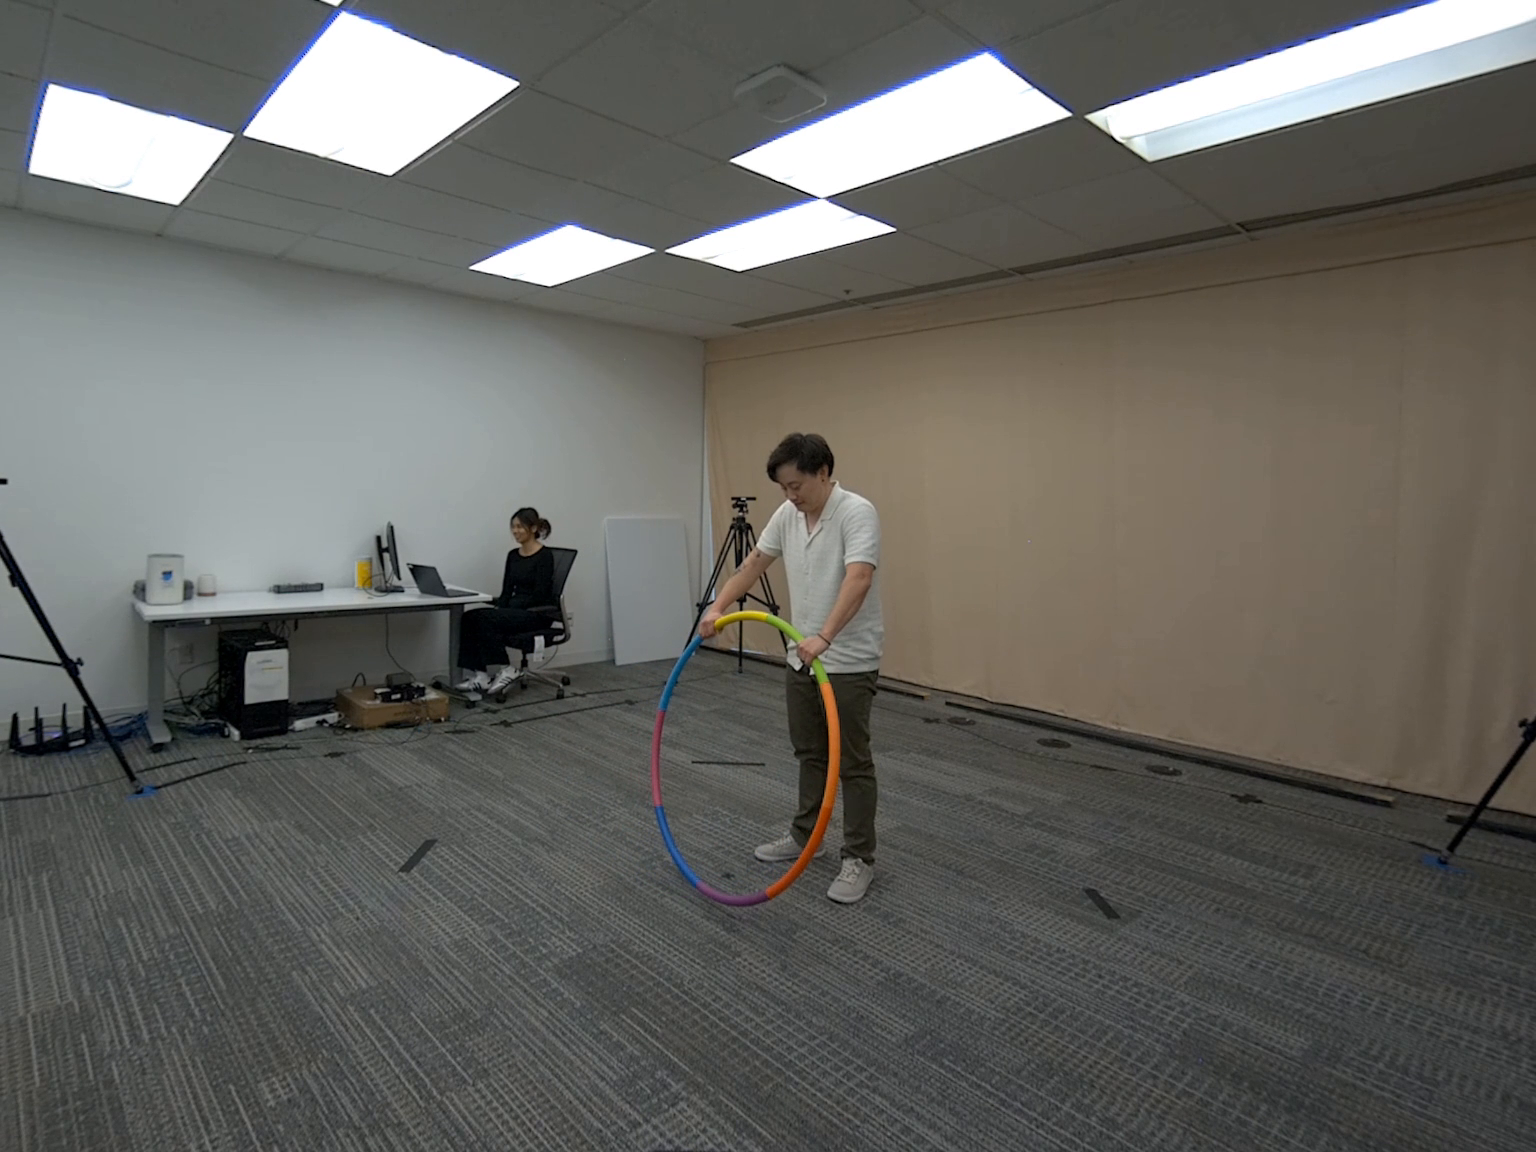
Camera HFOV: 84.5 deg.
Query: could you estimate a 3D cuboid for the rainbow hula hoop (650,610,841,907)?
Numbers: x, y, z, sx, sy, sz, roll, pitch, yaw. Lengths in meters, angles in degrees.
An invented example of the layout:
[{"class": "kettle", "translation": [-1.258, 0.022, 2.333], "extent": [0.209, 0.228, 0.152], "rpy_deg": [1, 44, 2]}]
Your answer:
[{"class": "rainbow hula hoop", "translation": [-0.125, 0.616, 2.903], "extent": [0.034, 0.981, 1.003], "rpy_deg": [16, -6, -39]}]
